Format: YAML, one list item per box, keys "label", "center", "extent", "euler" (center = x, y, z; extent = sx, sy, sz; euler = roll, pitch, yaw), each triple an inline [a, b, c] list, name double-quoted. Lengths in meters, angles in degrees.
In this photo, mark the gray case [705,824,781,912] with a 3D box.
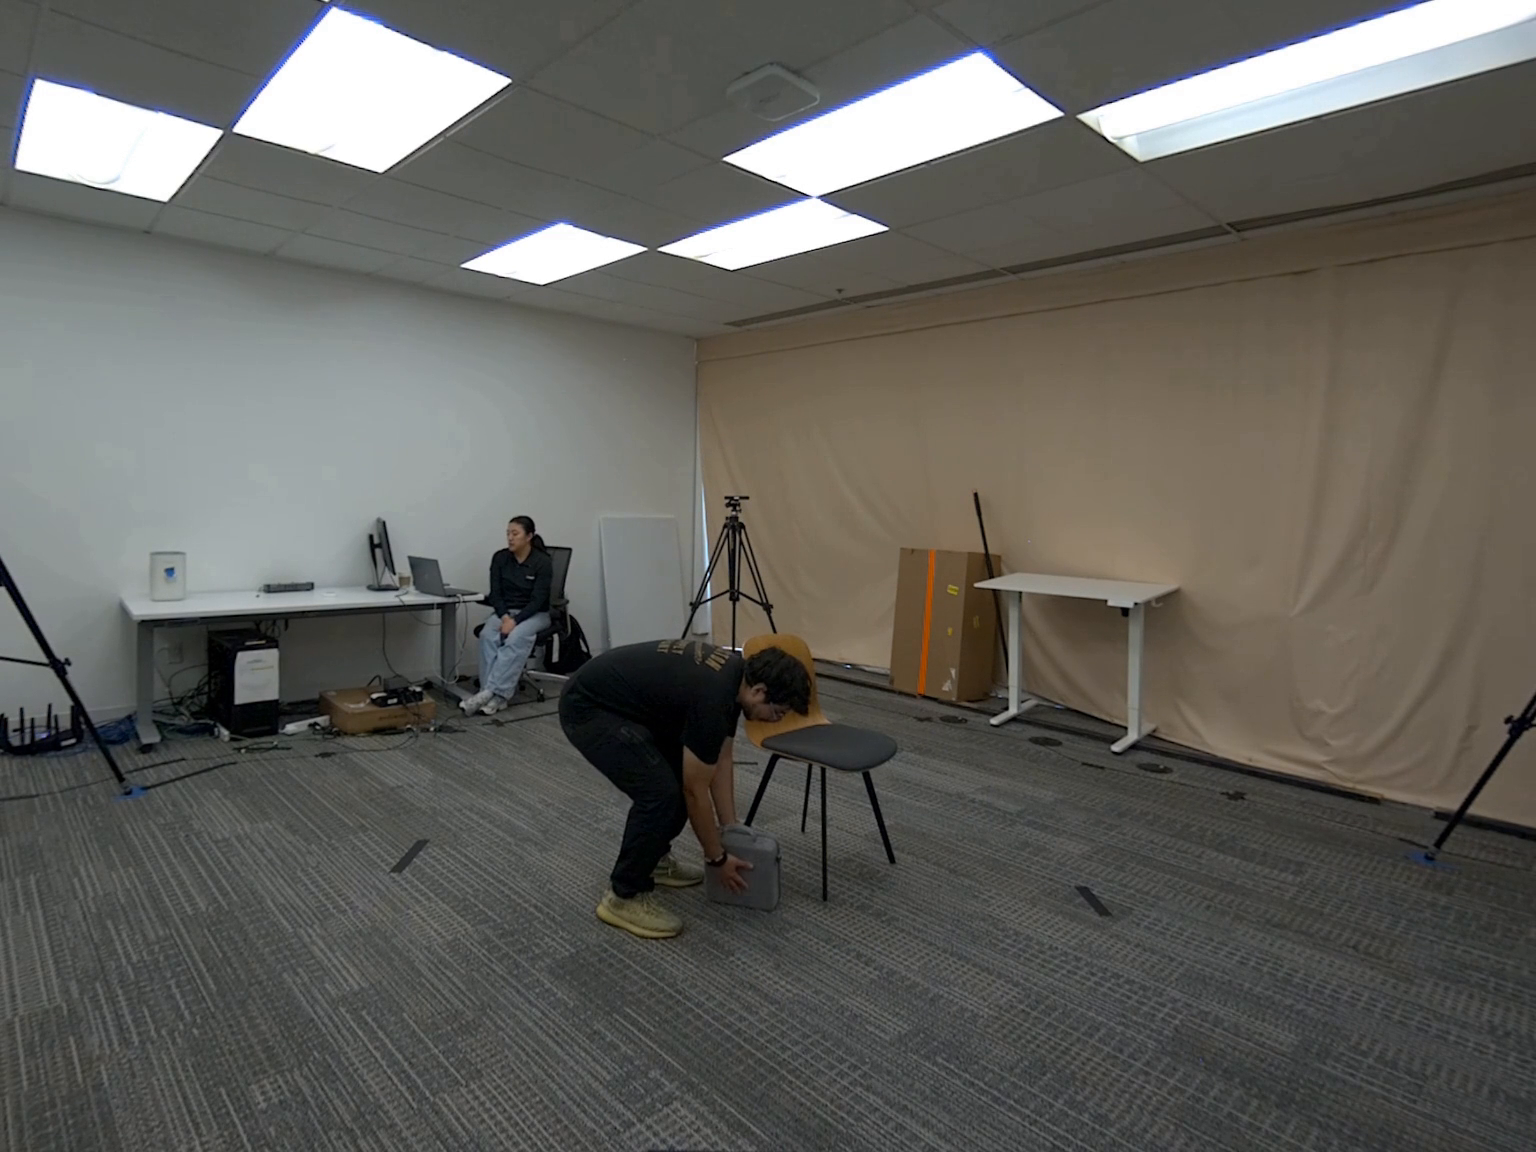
- label: "gray case"
  center: [-0.093, 0.999, 2.877]
  extent: [0.260, 0.257, 0.104]
  euler: [3, 18, 14]
